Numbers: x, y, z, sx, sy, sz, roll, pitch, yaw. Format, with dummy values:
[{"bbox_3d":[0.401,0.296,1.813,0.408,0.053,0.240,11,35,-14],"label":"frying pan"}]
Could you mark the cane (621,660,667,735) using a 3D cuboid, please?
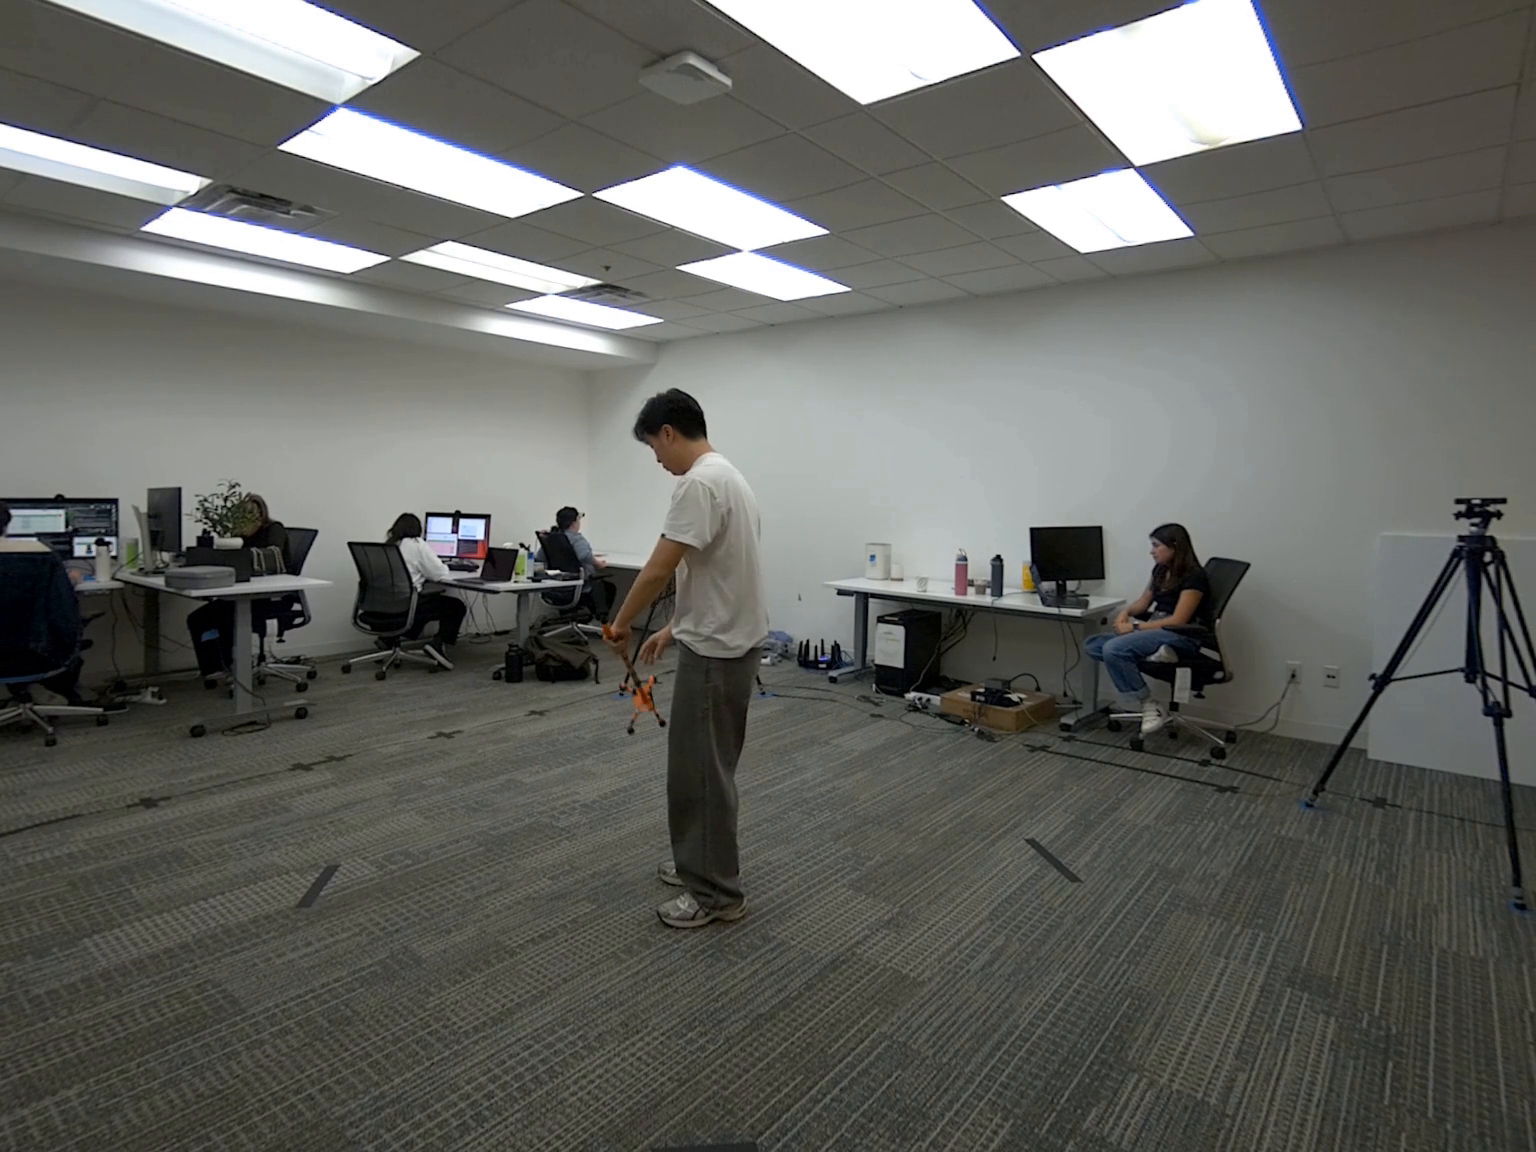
[{"bbox_3d":[-0.501,0.288,2.869,0.151,0.212,0.884,-8,-27,-2],"label":"cane"}]
